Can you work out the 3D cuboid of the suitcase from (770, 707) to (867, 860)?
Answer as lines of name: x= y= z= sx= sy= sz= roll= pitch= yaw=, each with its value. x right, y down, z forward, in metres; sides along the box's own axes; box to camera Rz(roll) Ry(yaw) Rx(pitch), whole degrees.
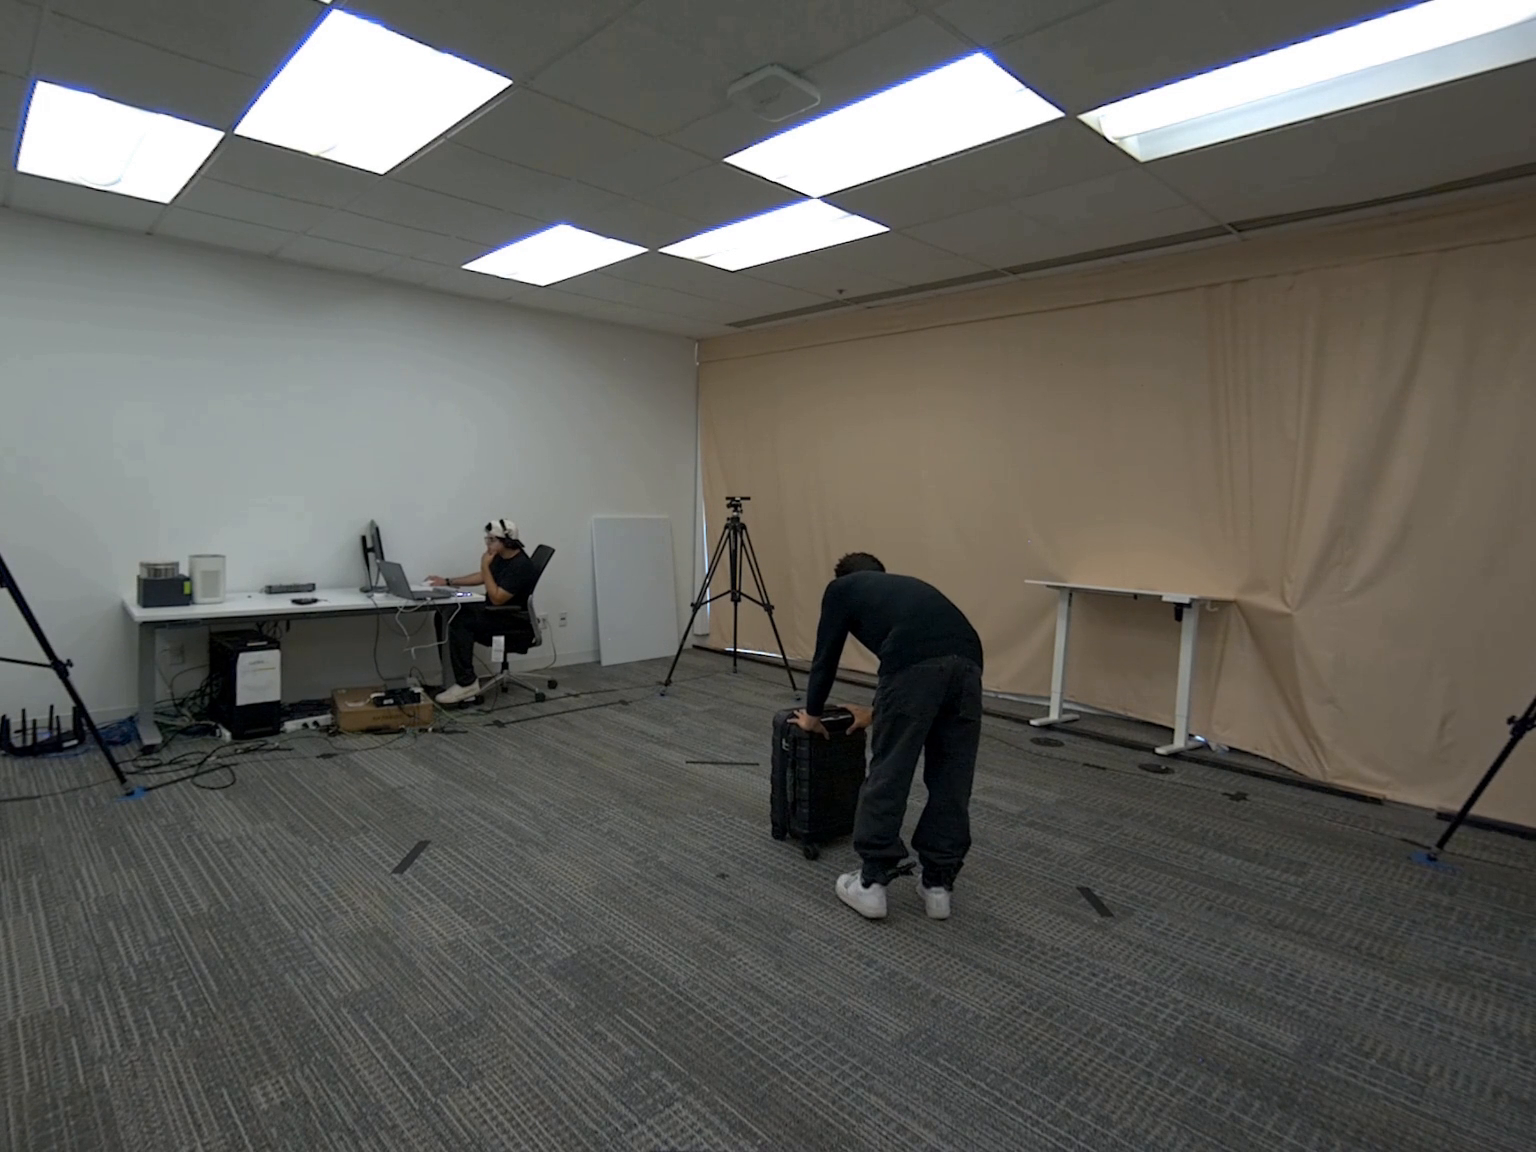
suitcase: x=0.201 y=0.810 z=3.451 sx=0.367 sy=0.549 sz=0.254 roll=-2 pitch=2 yaw=-34
